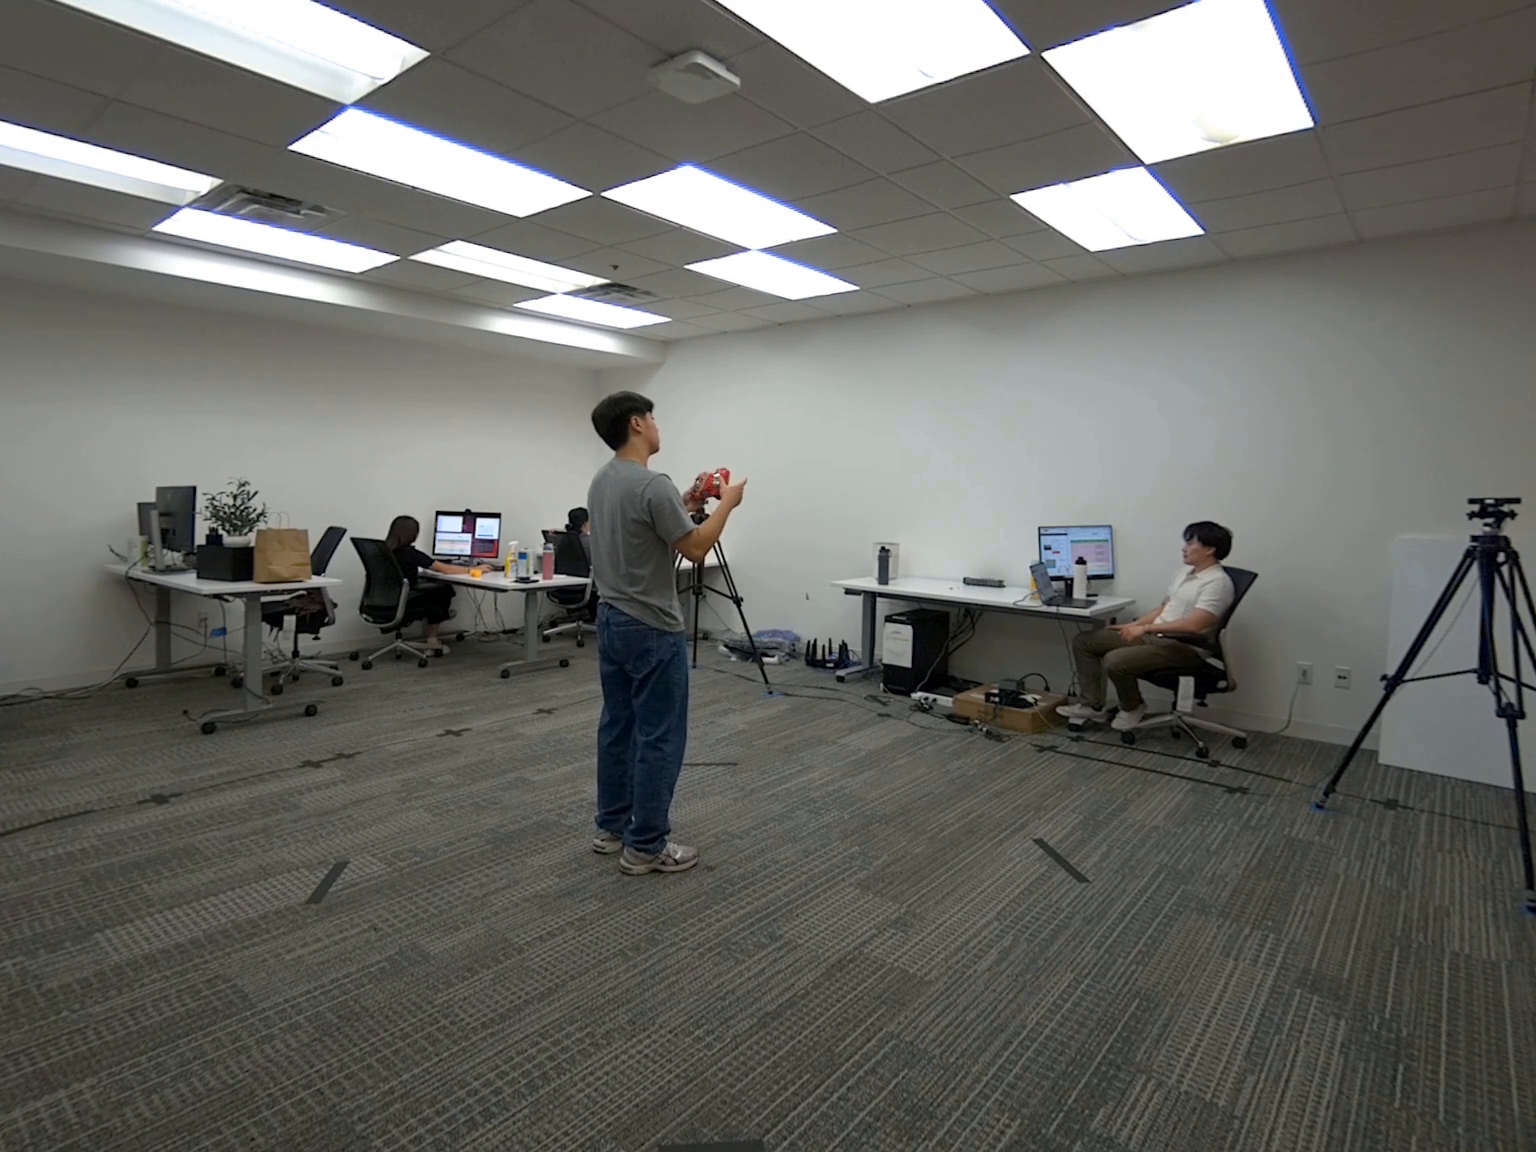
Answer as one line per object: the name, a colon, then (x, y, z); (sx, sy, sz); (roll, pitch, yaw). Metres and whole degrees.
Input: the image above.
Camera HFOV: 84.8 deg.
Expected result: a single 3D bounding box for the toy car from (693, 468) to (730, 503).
toy car: (-0.231, -0.363, 3.347); (0.081, 0.131, 0.259); (18, -11, -23)
